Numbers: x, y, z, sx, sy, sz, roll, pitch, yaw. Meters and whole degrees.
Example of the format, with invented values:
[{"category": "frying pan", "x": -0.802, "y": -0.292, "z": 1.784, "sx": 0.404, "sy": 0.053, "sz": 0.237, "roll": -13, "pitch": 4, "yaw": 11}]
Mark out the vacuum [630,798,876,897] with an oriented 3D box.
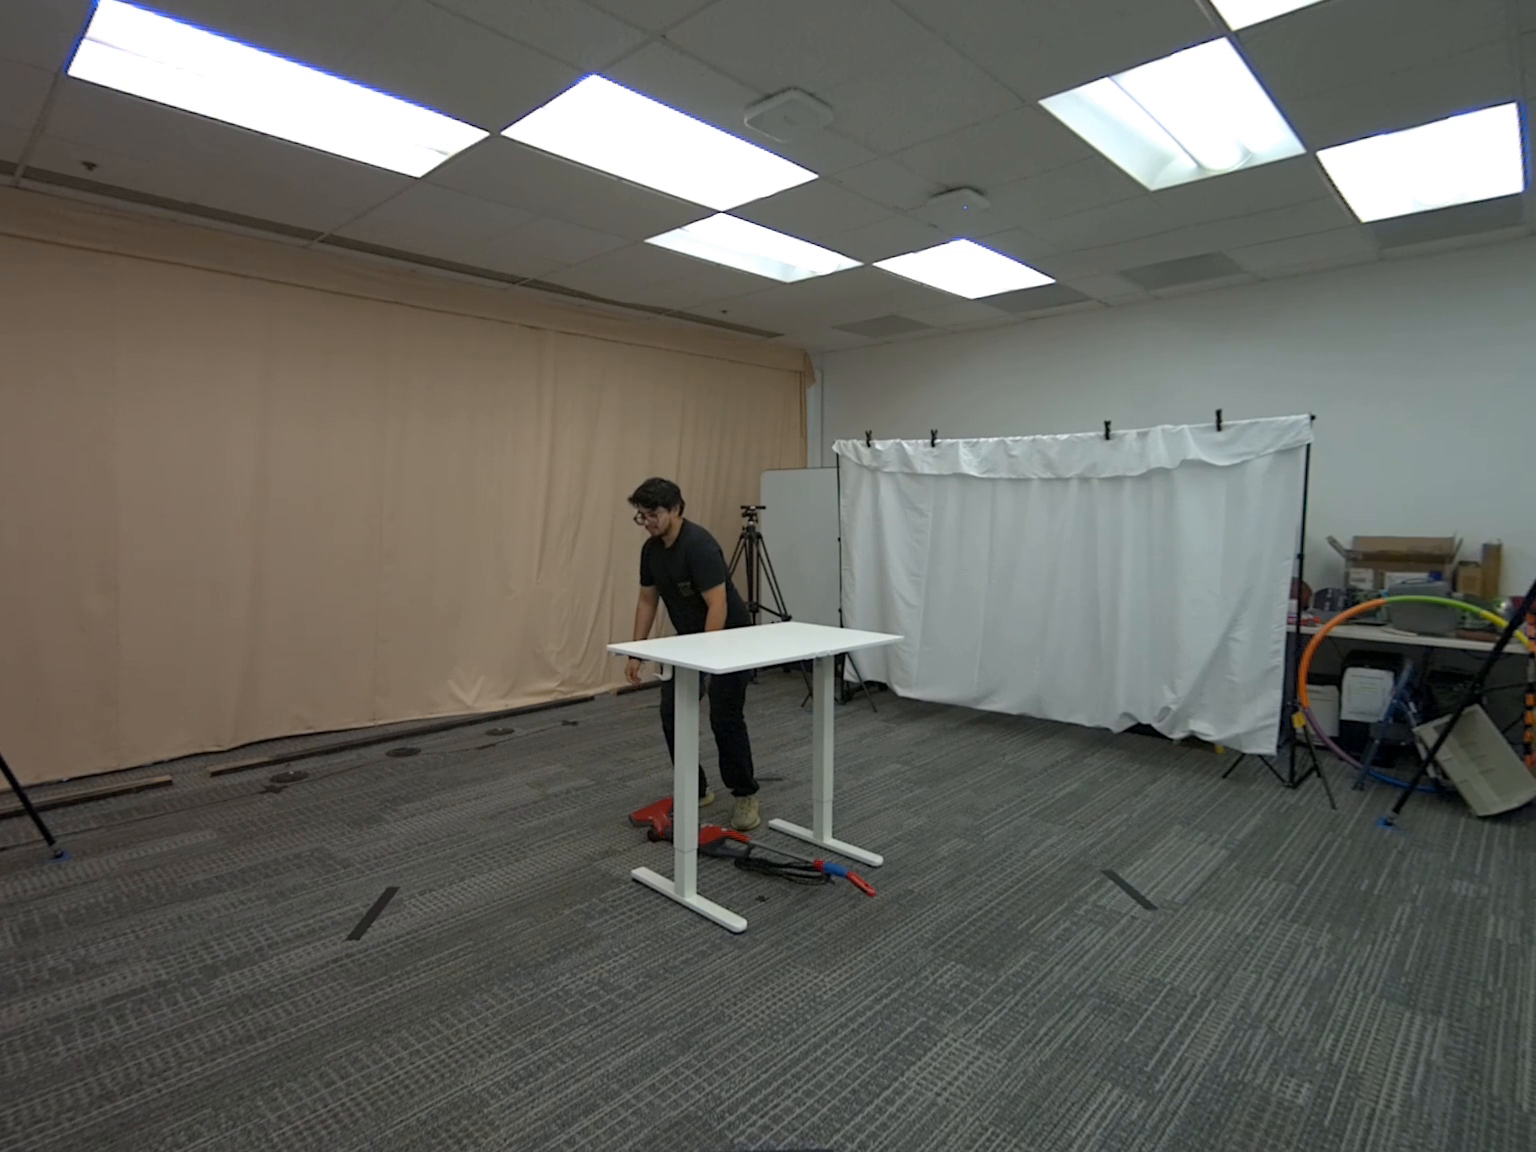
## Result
[{"category": "vacuum", "x": -0.056, "y": 1.065, "z": 3.217, "sx": 1.084, "sy": 0.143, "sz": 0.245, "roll": 5, "pitch": 9, "yaw": 40}]
